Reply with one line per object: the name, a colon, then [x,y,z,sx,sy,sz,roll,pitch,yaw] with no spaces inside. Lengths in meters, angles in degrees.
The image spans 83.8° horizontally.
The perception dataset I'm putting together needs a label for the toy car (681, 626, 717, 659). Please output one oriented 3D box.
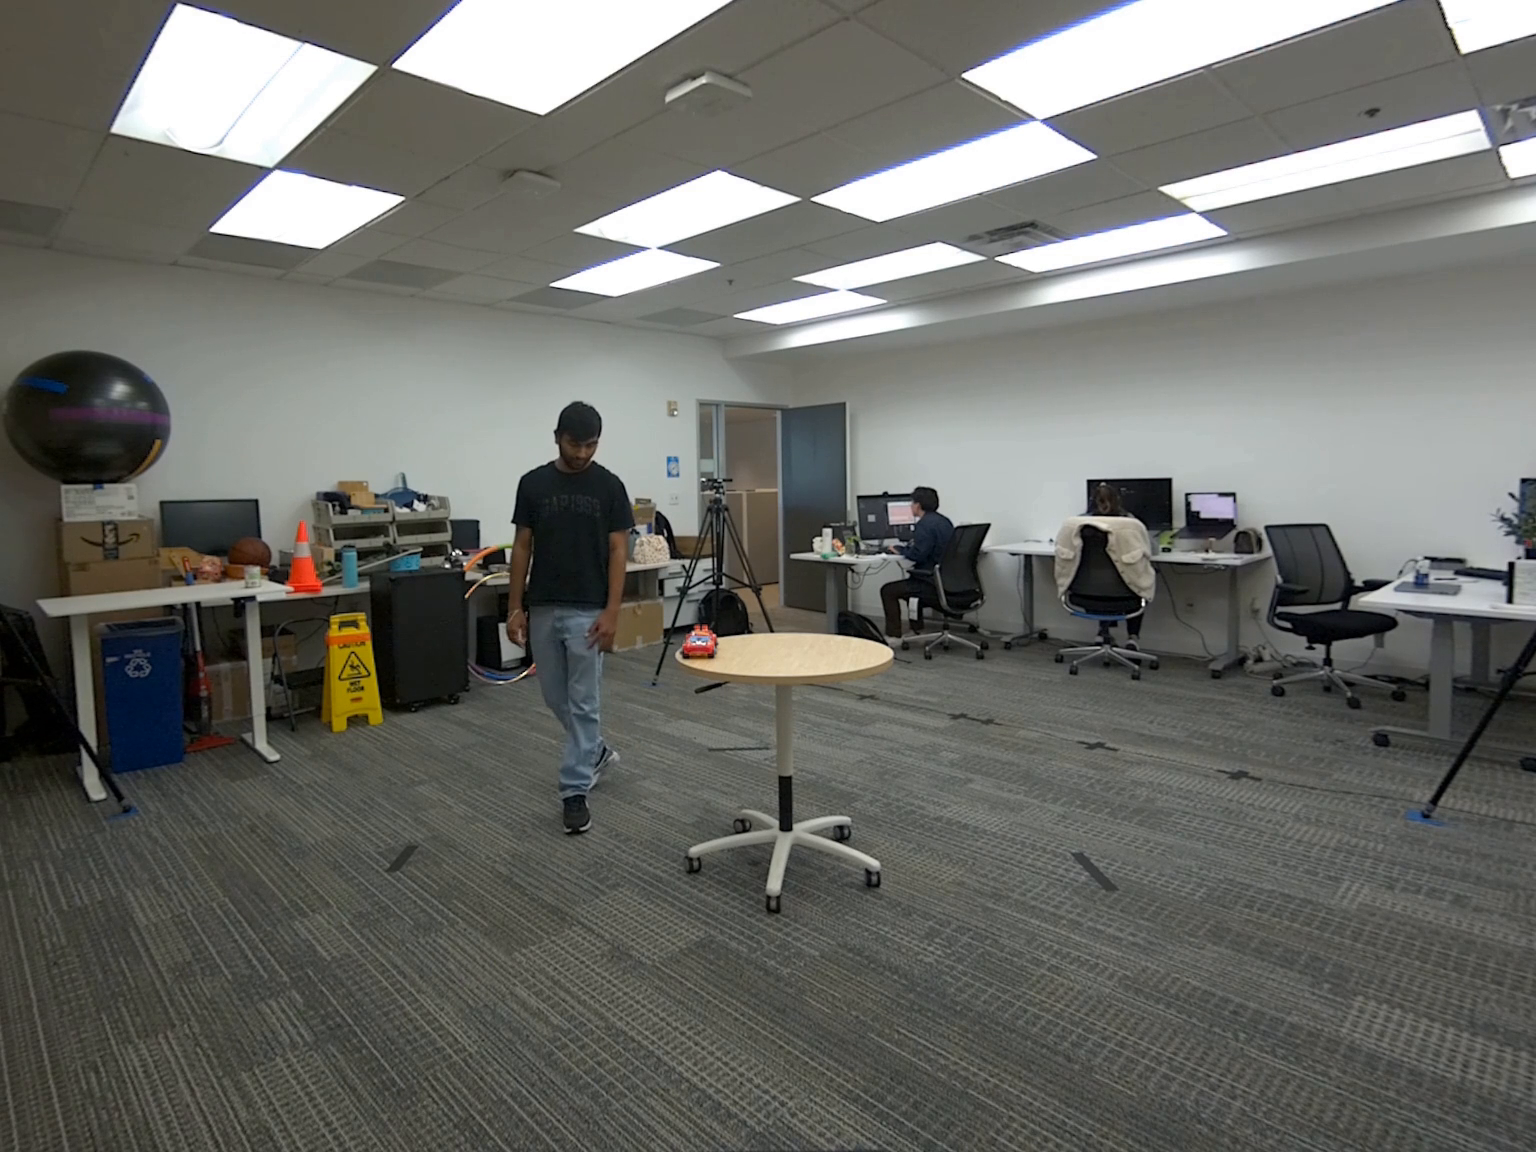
toy car: [-0.238,0.242,3.042,0.130,0.082,0.258,-1,17,0]
